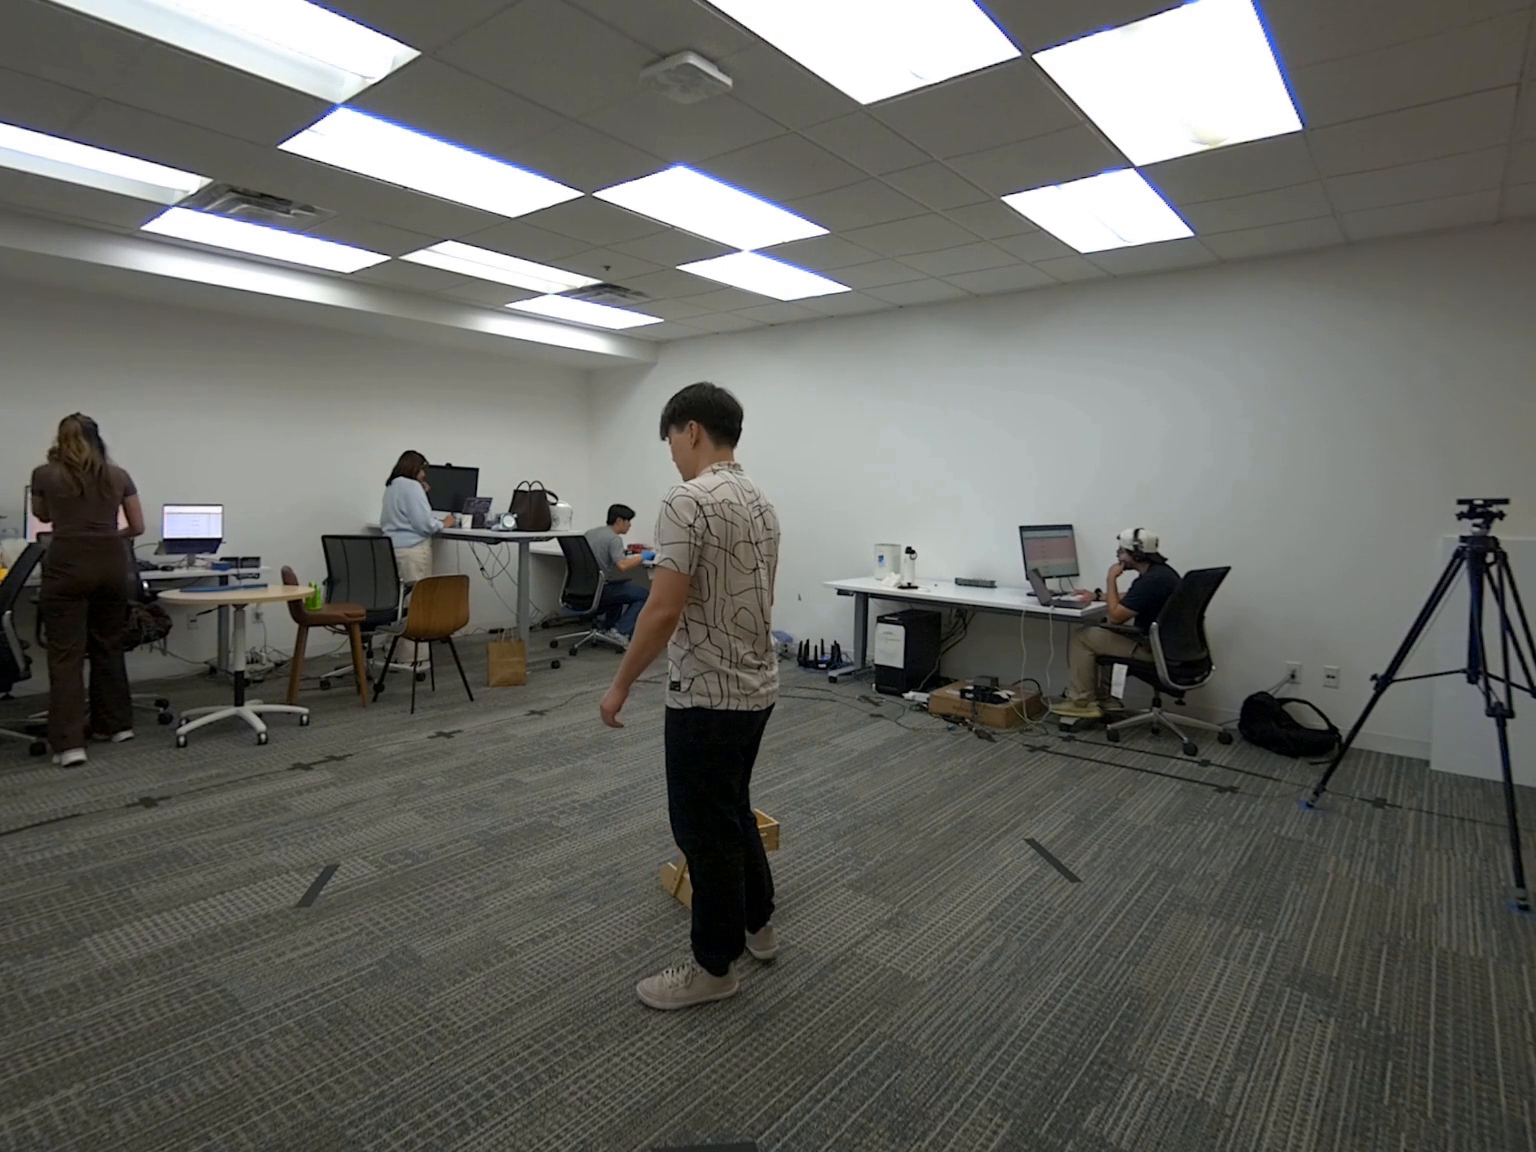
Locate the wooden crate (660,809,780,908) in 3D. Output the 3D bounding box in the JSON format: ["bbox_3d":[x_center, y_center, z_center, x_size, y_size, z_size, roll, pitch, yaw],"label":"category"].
[{"bbox_3d":[-0.181,0.944,2.942,0.315,0.272,0.312,-1,6,-34],"label":"wooden crate"}]
